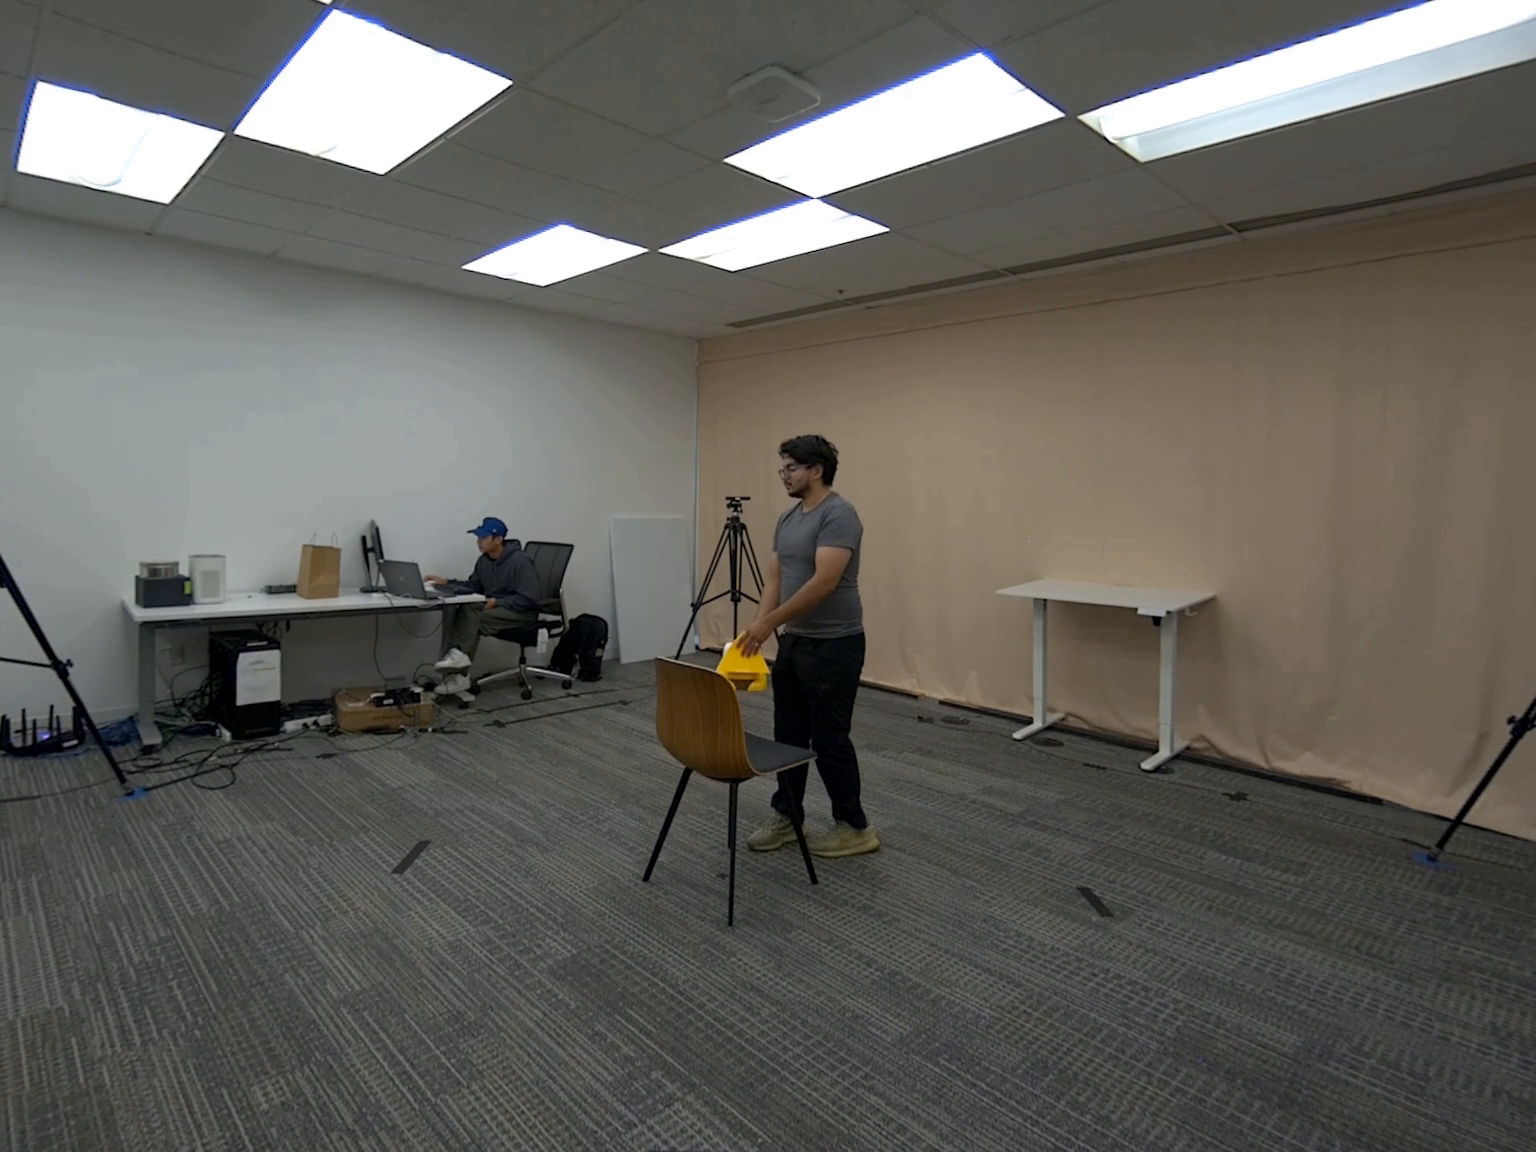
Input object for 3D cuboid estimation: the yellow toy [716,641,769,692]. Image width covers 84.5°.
[{"bbox_3d":[-0.103,0.312,3.254,0.204,0.229,0.195,1,9,-5],"label":"yellow toy"}]
